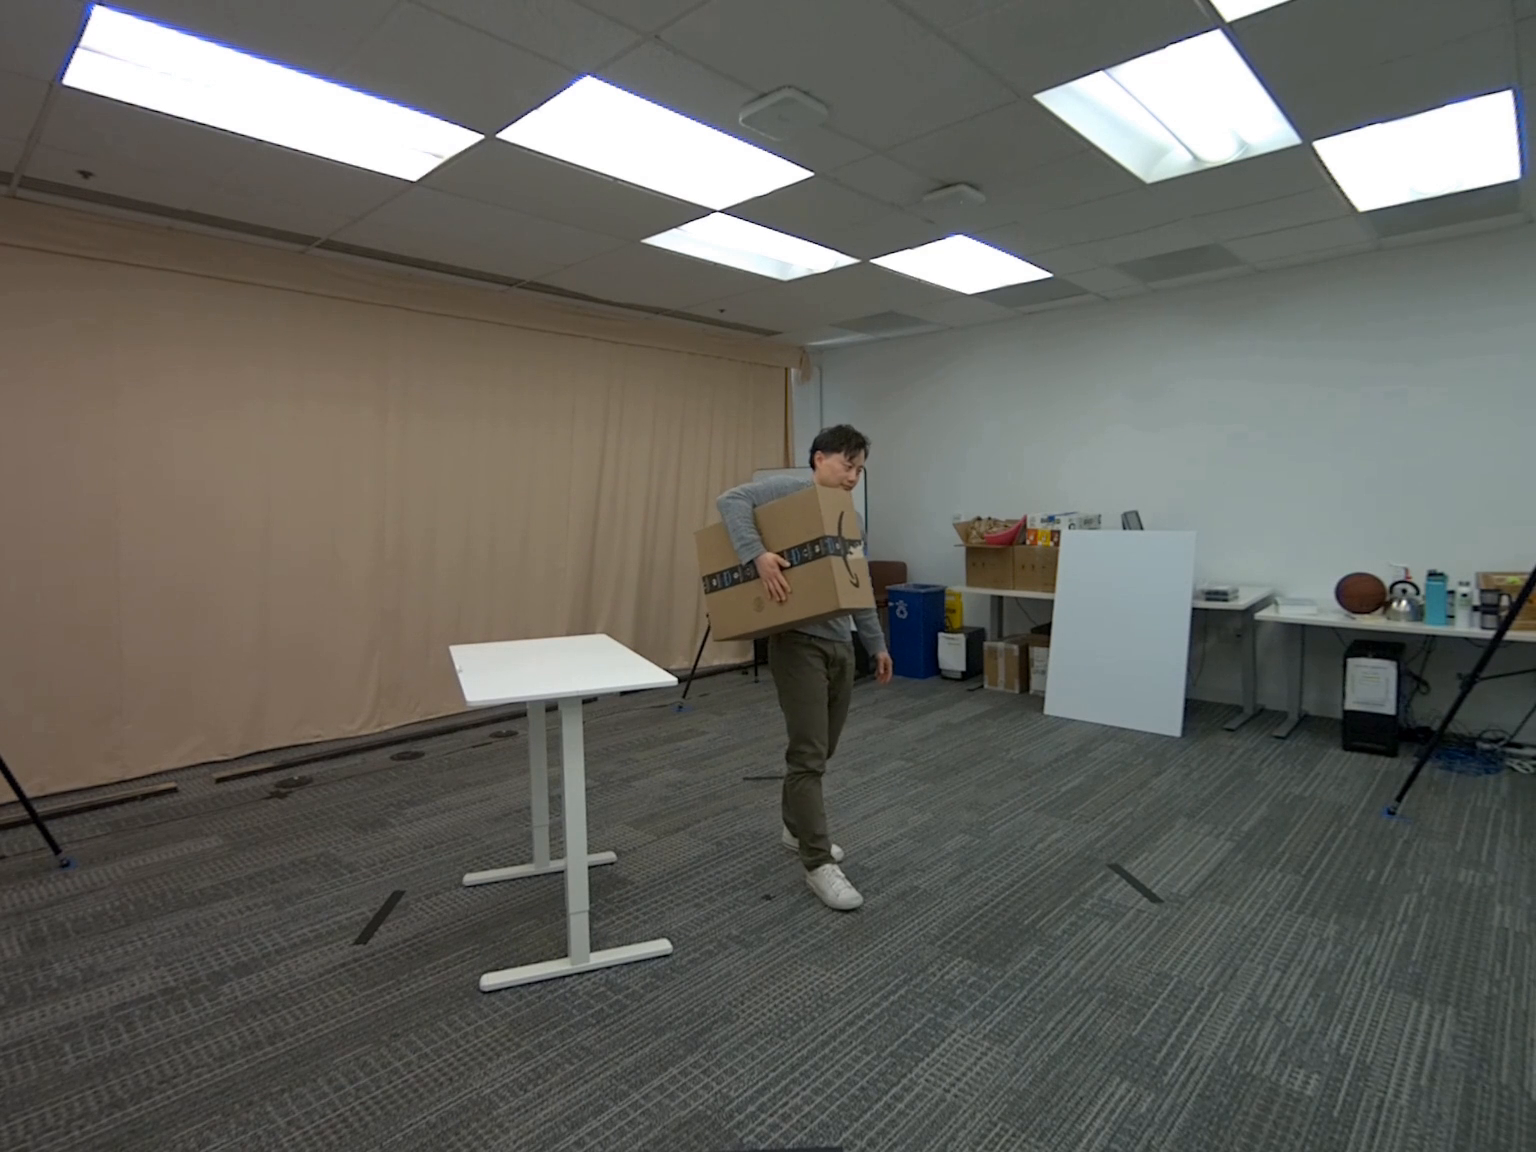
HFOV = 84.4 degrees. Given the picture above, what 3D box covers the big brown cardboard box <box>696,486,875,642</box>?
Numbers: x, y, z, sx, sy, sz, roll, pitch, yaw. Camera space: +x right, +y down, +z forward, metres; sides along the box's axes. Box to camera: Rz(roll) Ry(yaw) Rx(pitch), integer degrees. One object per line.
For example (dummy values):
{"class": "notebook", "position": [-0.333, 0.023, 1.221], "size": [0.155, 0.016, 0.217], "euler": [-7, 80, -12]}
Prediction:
{"class": "big brown cardboard box", "position": [0.041, -0.026, 2.959], "size": [0.603, 0.421, 0.225], "euler": [-18, -14, 39]}
